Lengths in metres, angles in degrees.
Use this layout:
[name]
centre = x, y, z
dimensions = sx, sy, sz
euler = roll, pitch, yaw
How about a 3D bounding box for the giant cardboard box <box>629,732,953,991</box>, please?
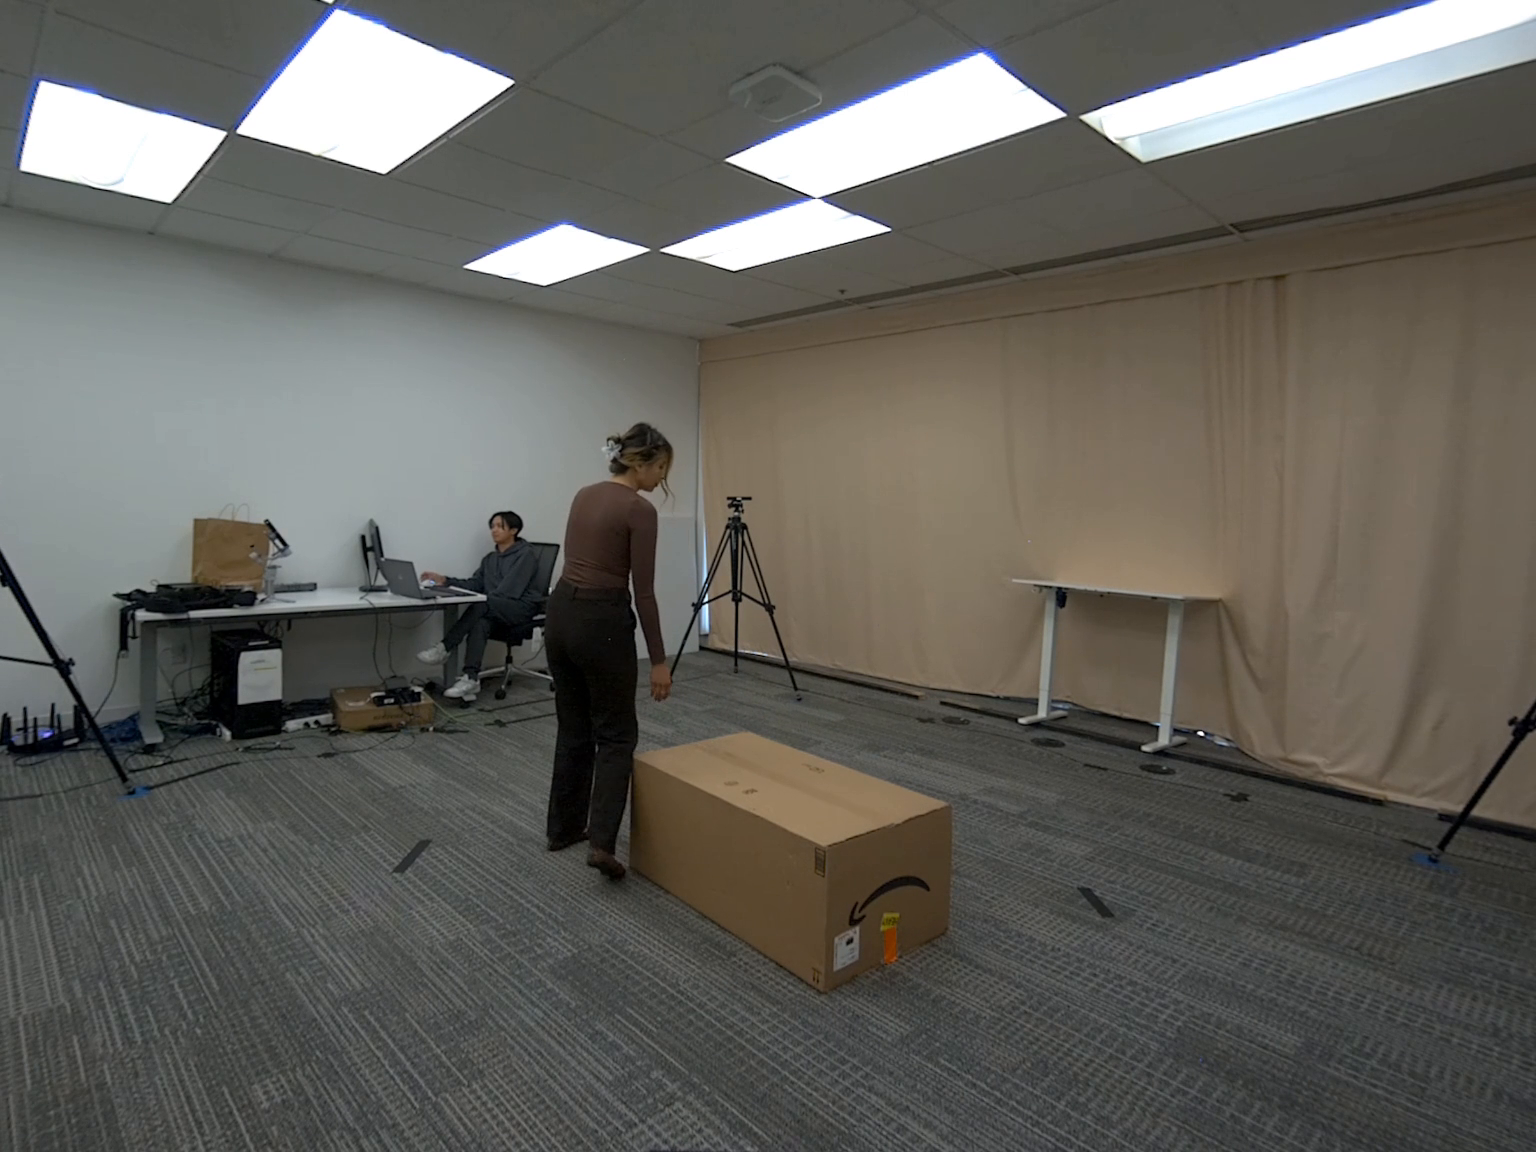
[giant cardboard box]
centre = 0.036, 0.918, 2.930
dimensions = 0.570, 0.446, 1.054
euler = -1, 6, -40
